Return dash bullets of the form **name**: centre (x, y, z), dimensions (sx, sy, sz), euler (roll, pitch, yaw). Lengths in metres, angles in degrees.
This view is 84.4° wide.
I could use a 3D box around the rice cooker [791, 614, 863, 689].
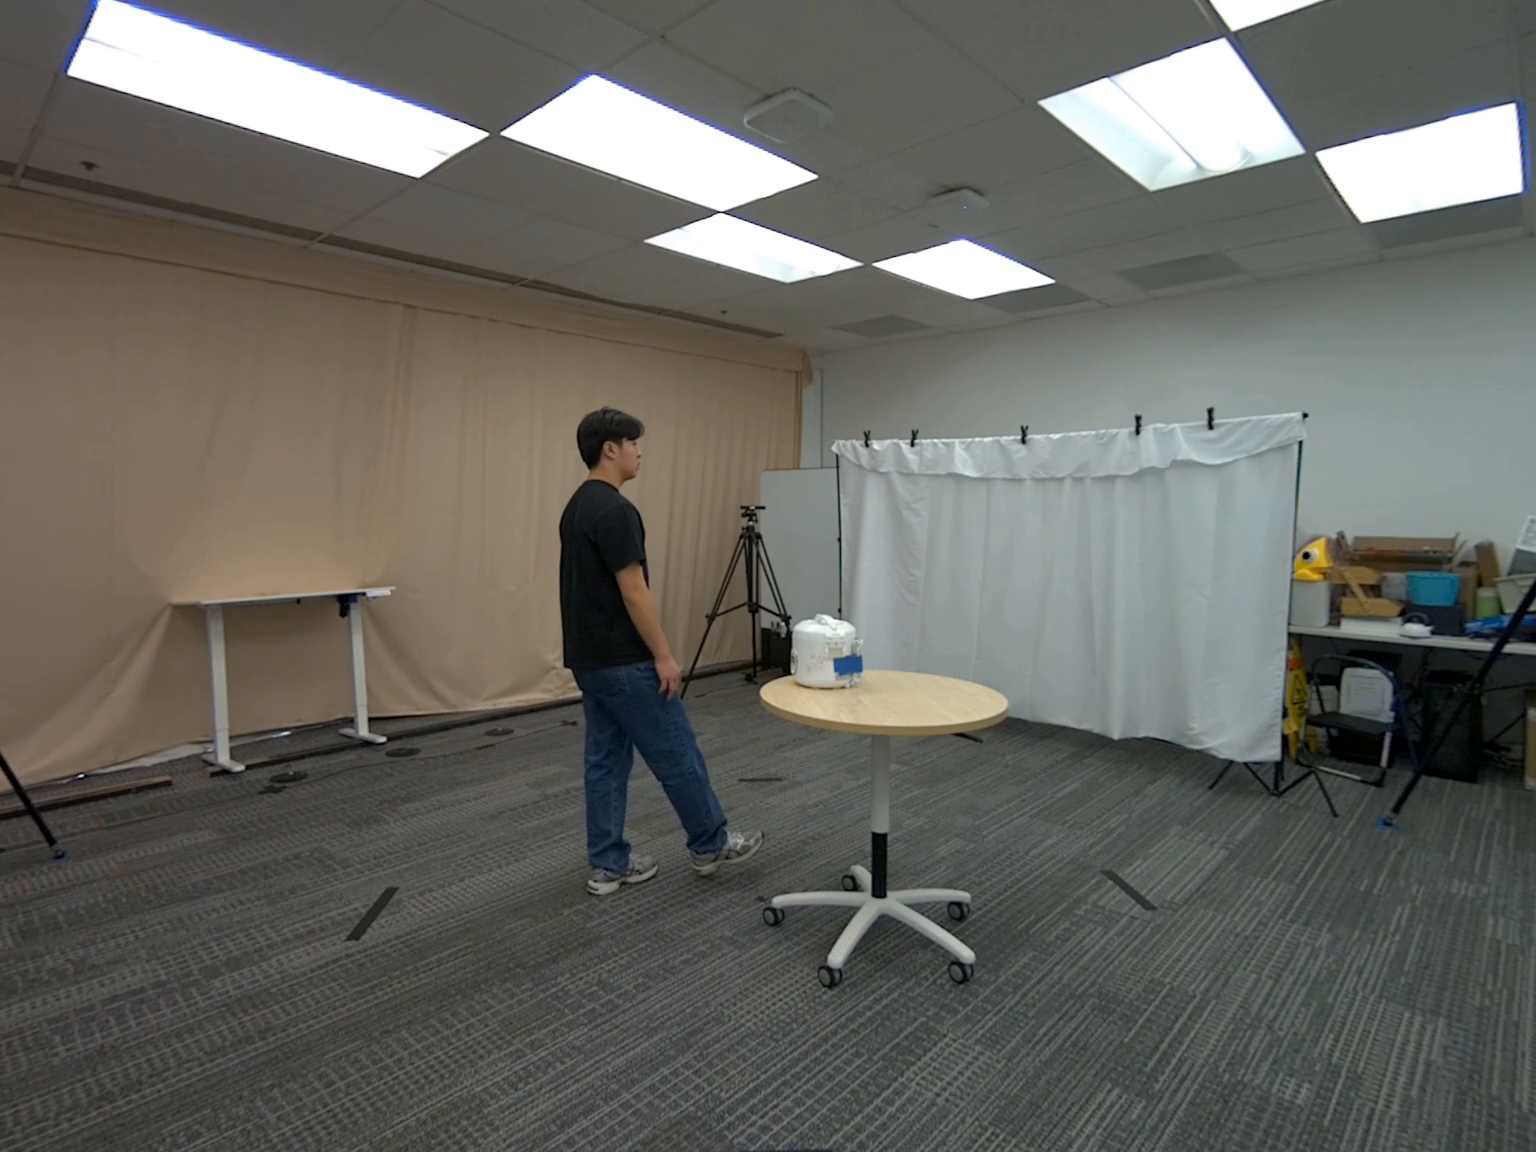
- **rice cooker**: centre (0.193, 0.248, 2.801), dimensions (0.214, 0.232, 0.224), euler (1, 3, -14)
